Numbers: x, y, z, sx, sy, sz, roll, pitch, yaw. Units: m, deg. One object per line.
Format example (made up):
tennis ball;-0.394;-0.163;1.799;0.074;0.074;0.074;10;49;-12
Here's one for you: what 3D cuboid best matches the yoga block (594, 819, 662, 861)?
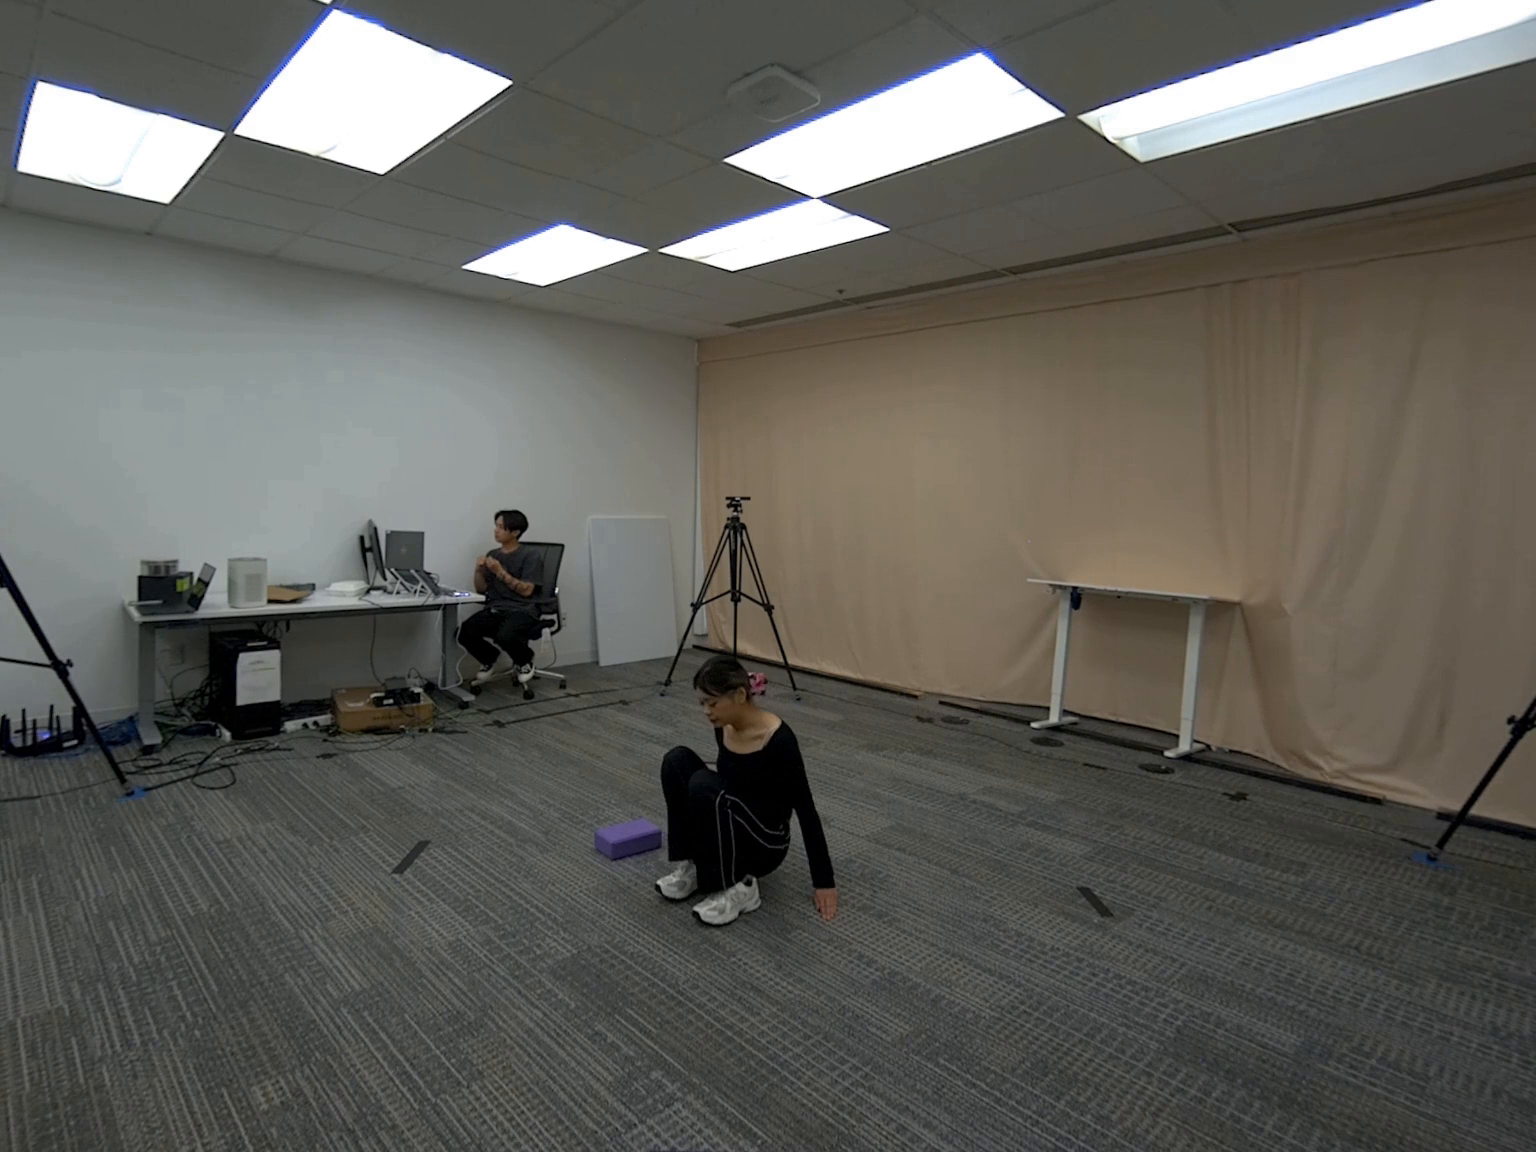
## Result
yoga block;-0.558;1.035;3.329;0.224;0.076;0.153;-3;6;-39
